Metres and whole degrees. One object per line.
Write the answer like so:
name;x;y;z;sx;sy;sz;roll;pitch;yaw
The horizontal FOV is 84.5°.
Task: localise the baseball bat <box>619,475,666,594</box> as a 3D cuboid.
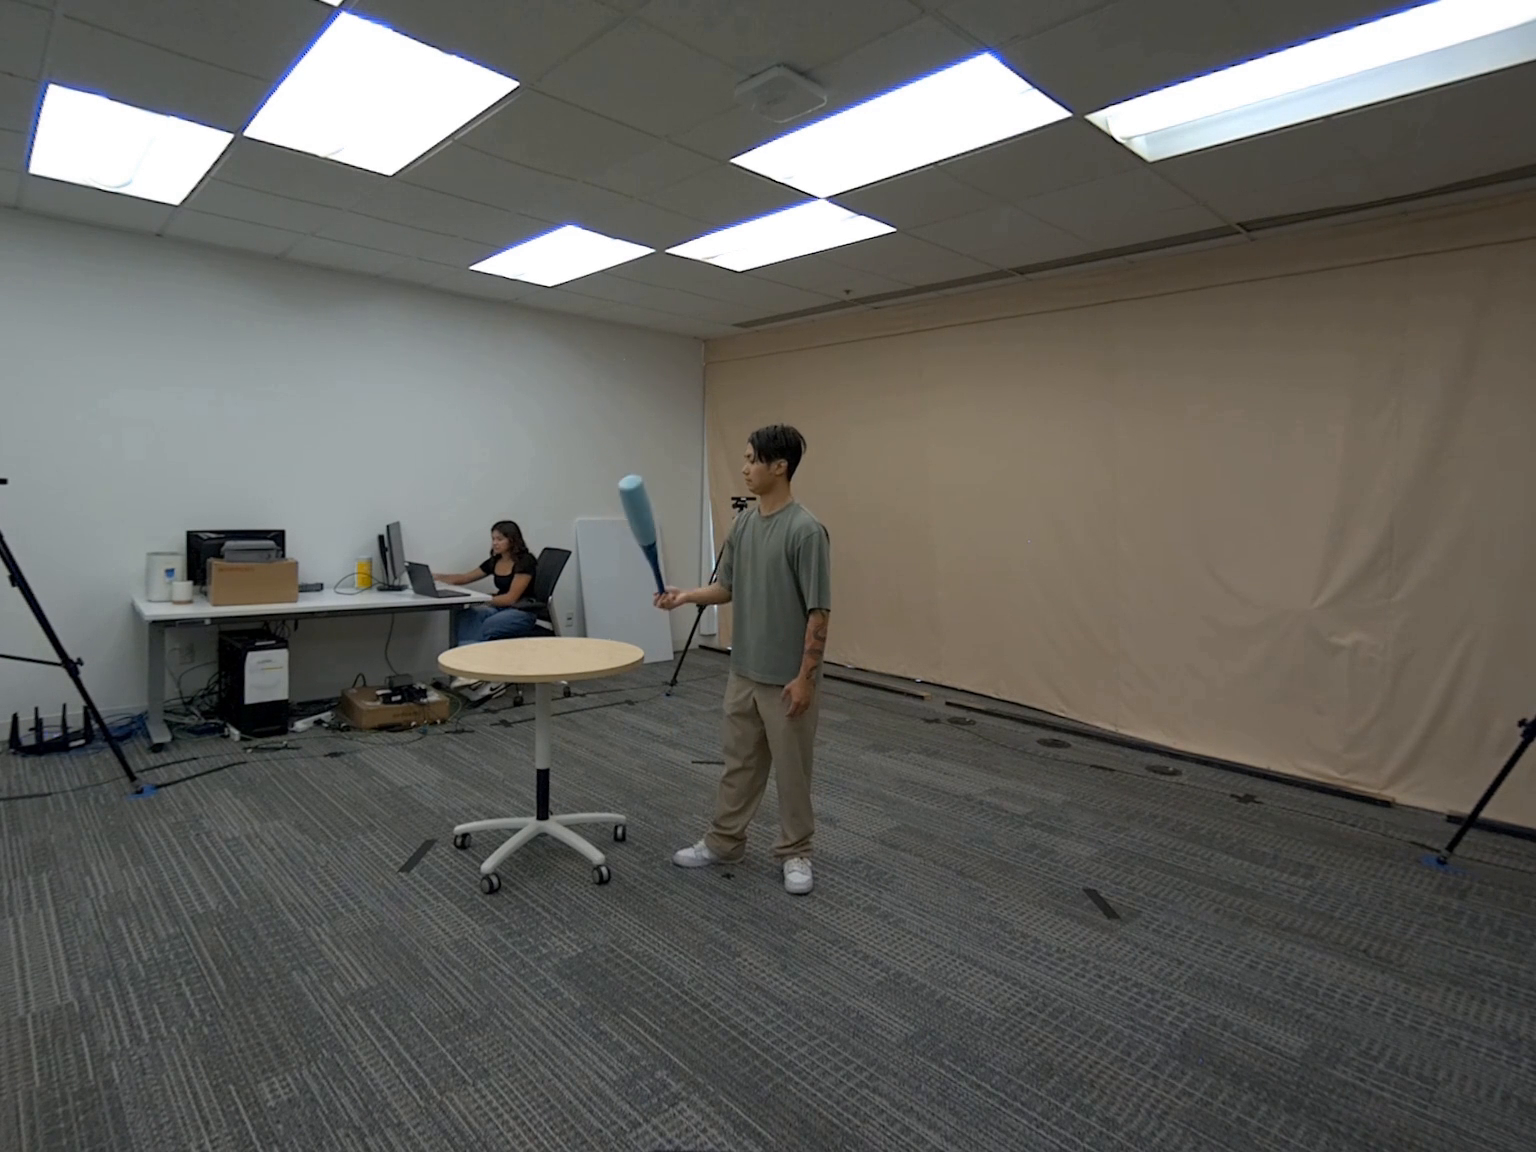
baseball bat;-0.425;-0.102;2.934;0.089;0.529;0.091;-8;38;5
